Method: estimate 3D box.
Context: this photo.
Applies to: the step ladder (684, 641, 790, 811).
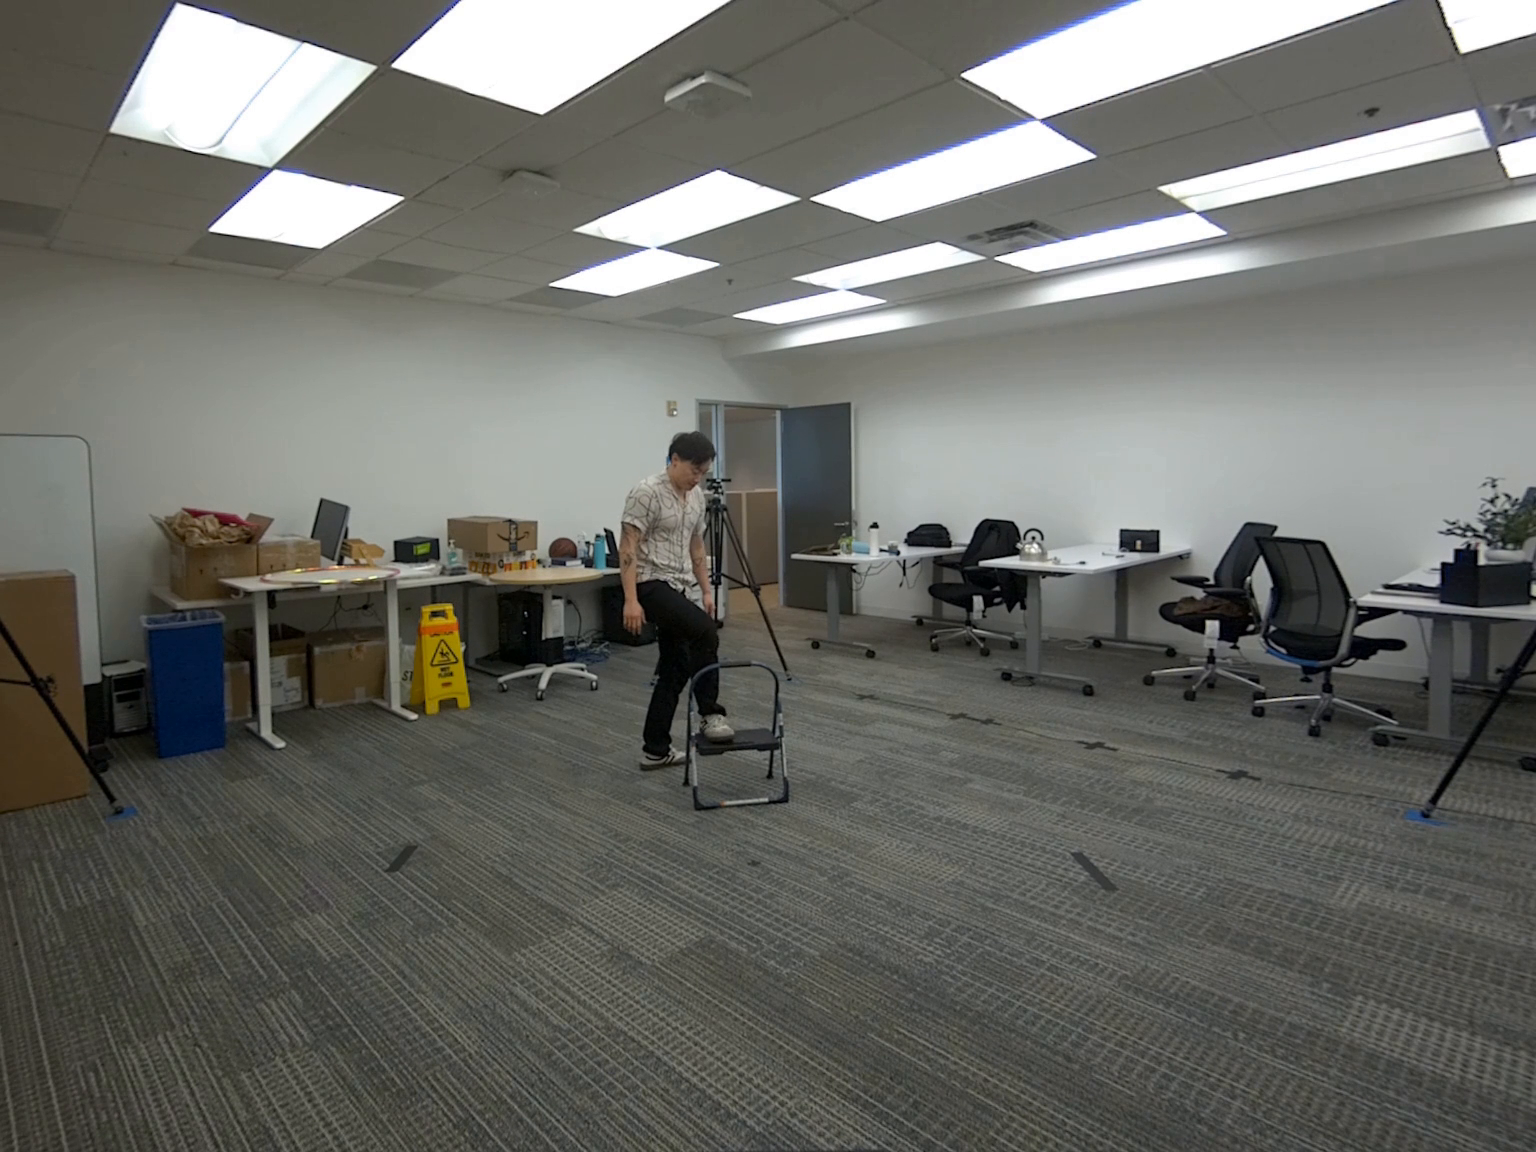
[{"bbox_3d":[-0.152,0.669,3.796,0.426,0.604,0.354,-2,4,-12],"label":"step ladder"}]
